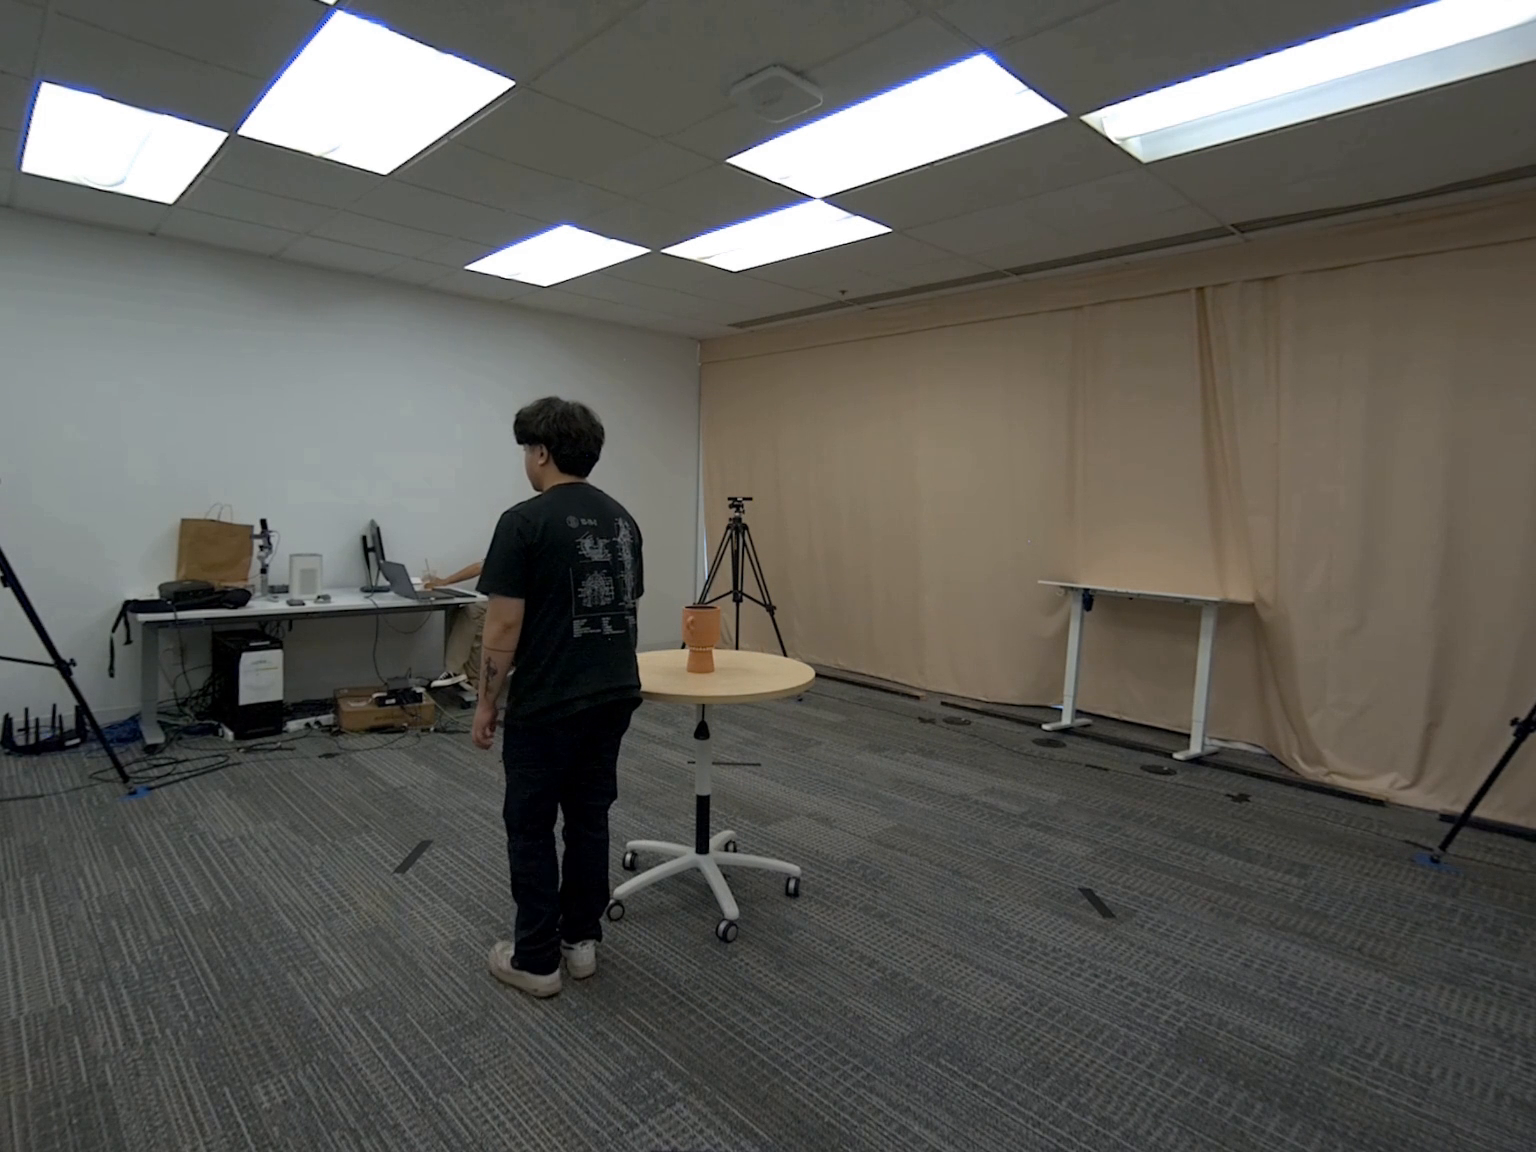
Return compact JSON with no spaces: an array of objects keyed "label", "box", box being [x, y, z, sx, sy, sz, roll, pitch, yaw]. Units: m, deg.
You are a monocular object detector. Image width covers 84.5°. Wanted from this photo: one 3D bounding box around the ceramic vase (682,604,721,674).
[{"label":"ceramic vase","box":[-0.239,0.221,2.916,0.156,0.219,0.137,0,5,-26]}]
